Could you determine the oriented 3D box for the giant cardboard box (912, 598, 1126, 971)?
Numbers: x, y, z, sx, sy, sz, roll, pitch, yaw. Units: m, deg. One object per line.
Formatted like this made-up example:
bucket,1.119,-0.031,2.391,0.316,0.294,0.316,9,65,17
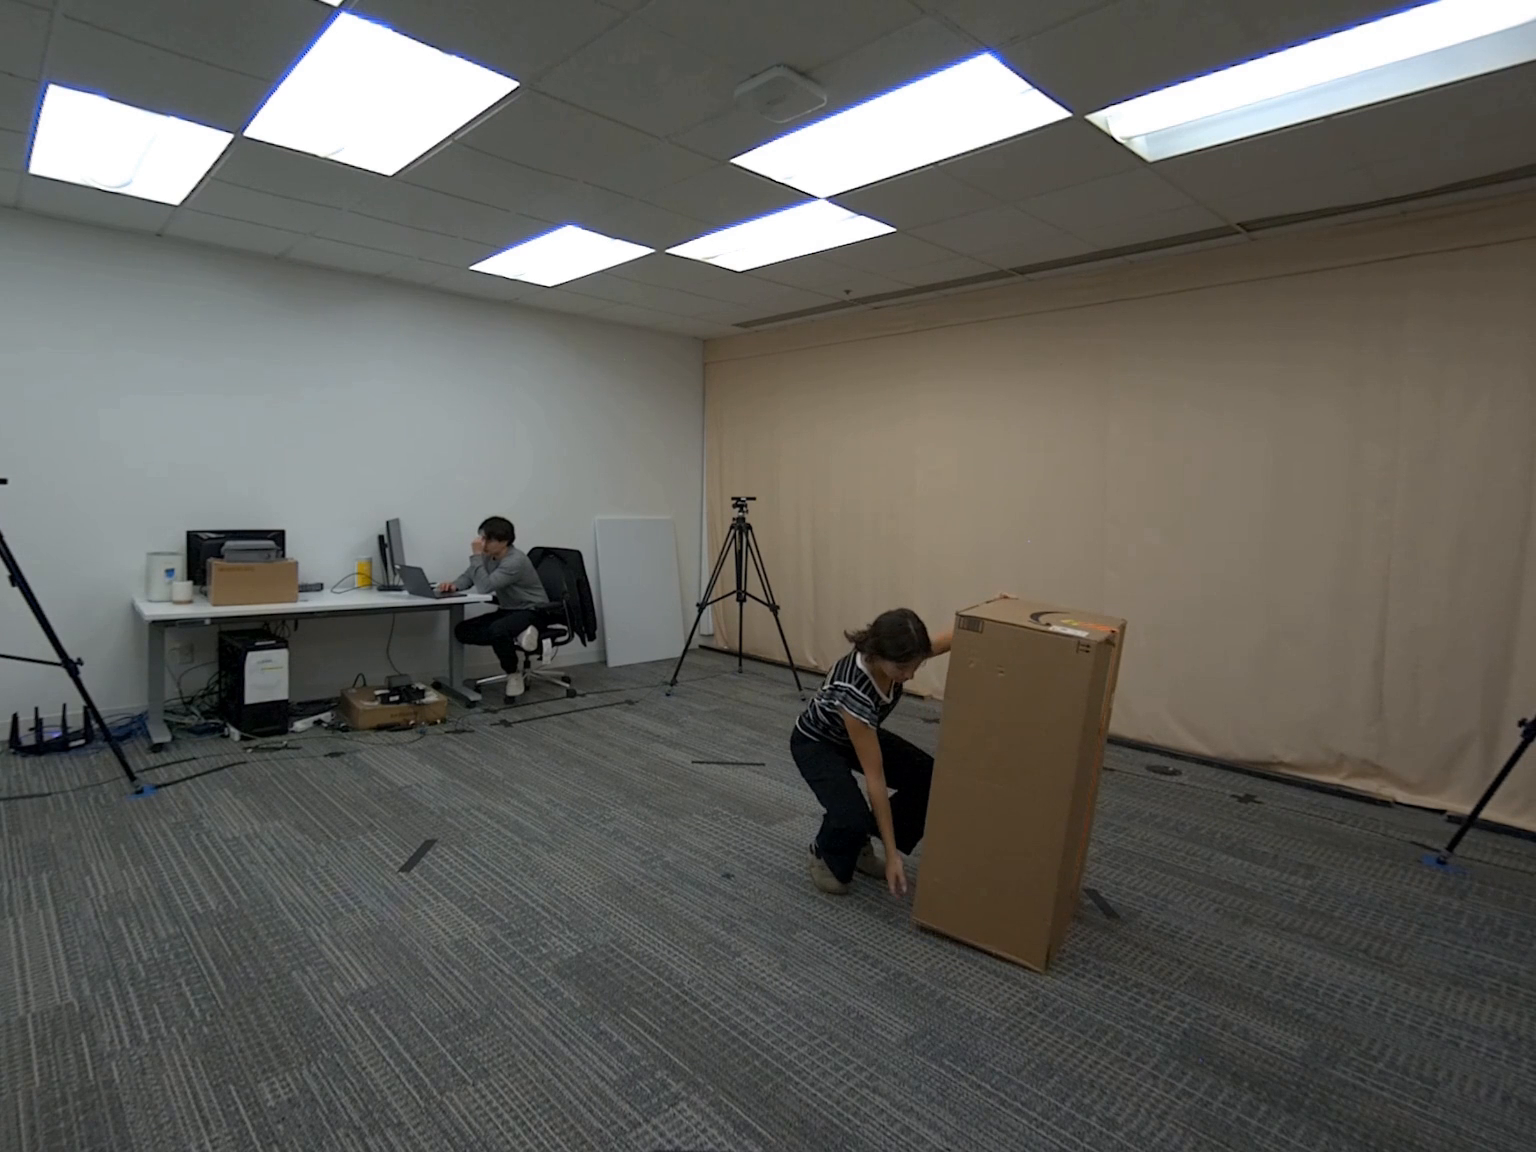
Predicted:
giant cardboard box,0.846,0.637,2.794,0.436,1.022,0.566,10,7,31
